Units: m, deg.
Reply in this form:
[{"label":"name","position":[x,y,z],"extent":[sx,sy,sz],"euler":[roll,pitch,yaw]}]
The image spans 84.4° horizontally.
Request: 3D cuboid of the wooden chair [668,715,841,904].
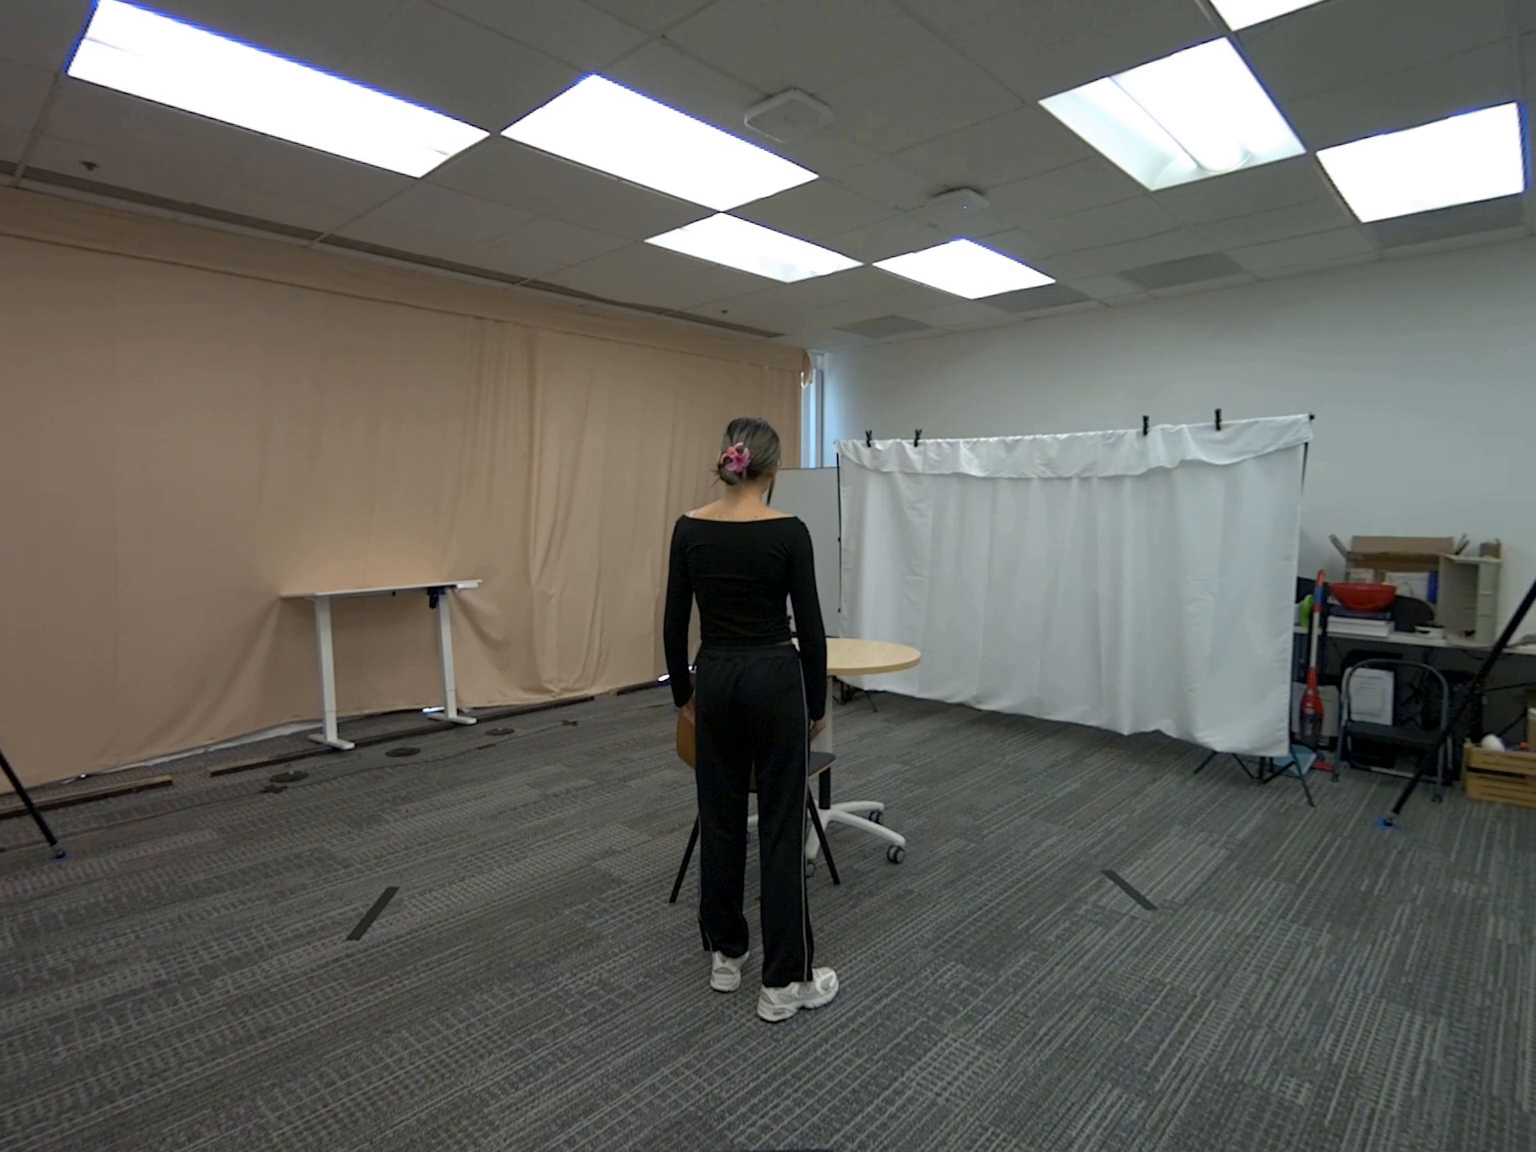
[{"label":"wooden chair","position":[-0.041,0.713,3.001],"extent":[0.492,0.873,0.510],"euler":[1,8,32]}]
